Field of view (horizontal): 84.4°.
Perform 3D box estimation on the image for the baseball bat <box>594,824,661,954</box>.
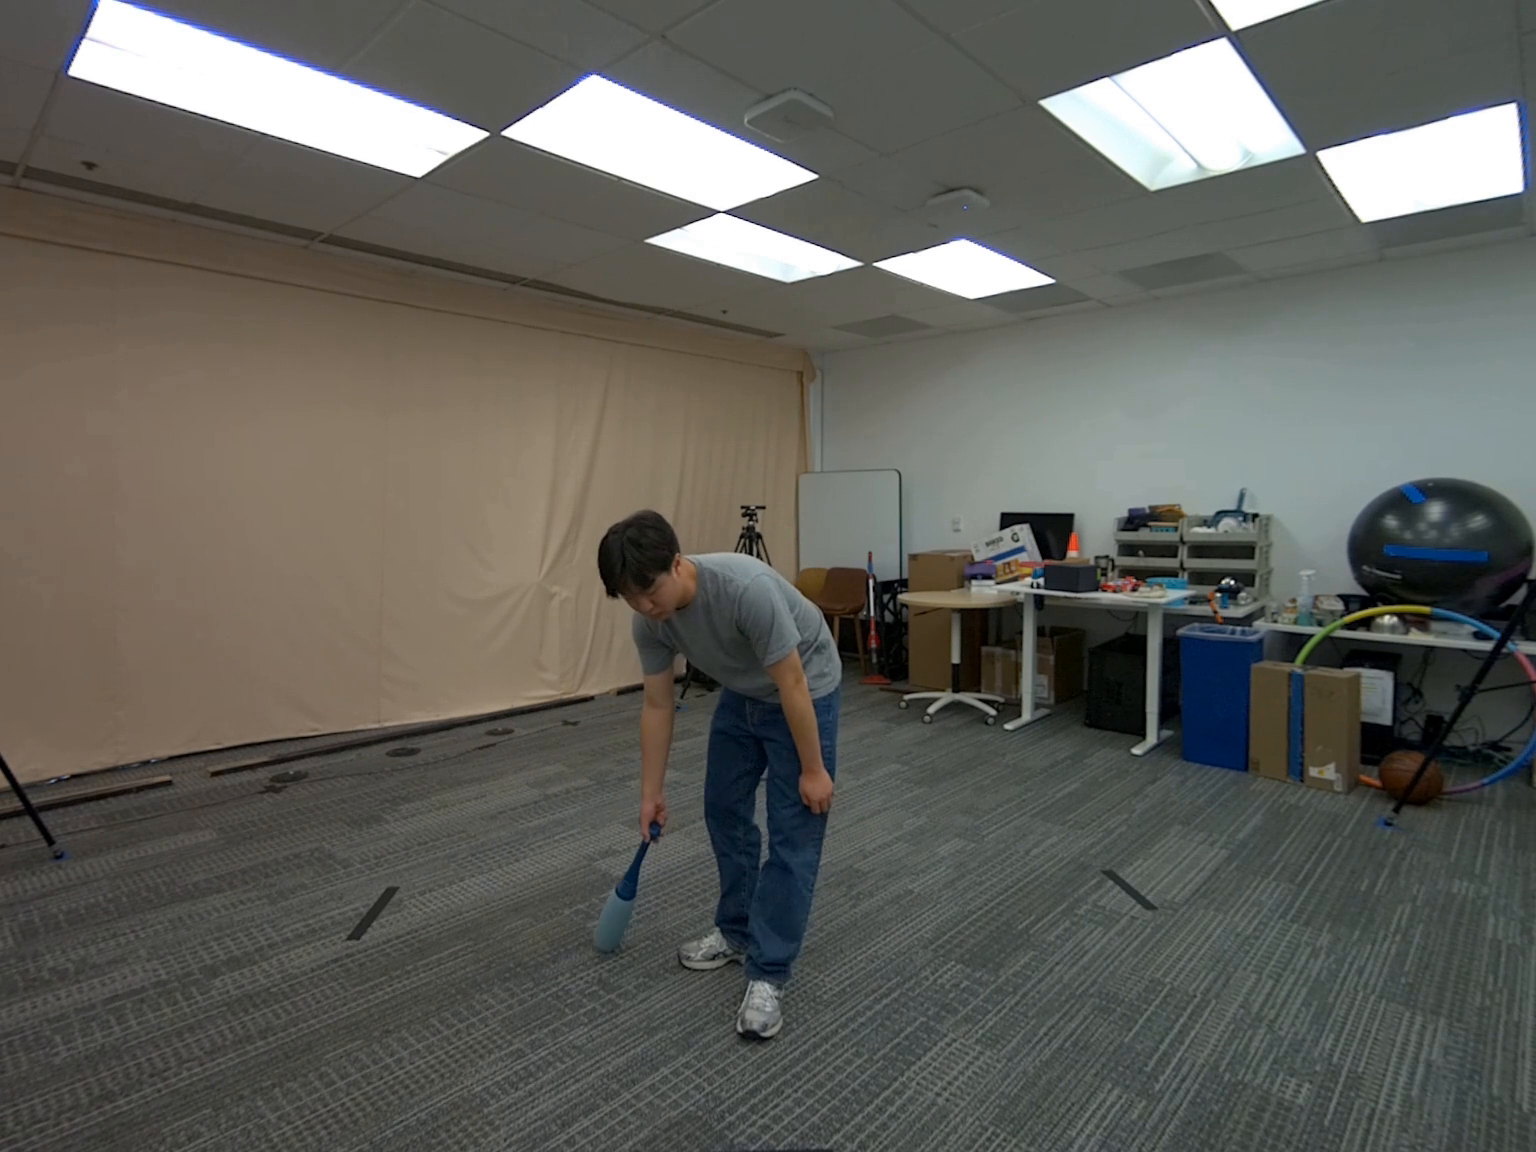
[{"bbox_3d":[-0.419,0.950,2.532,0.088,0.541,0.090,17,29,-12],"label":"baseball bat"}]
